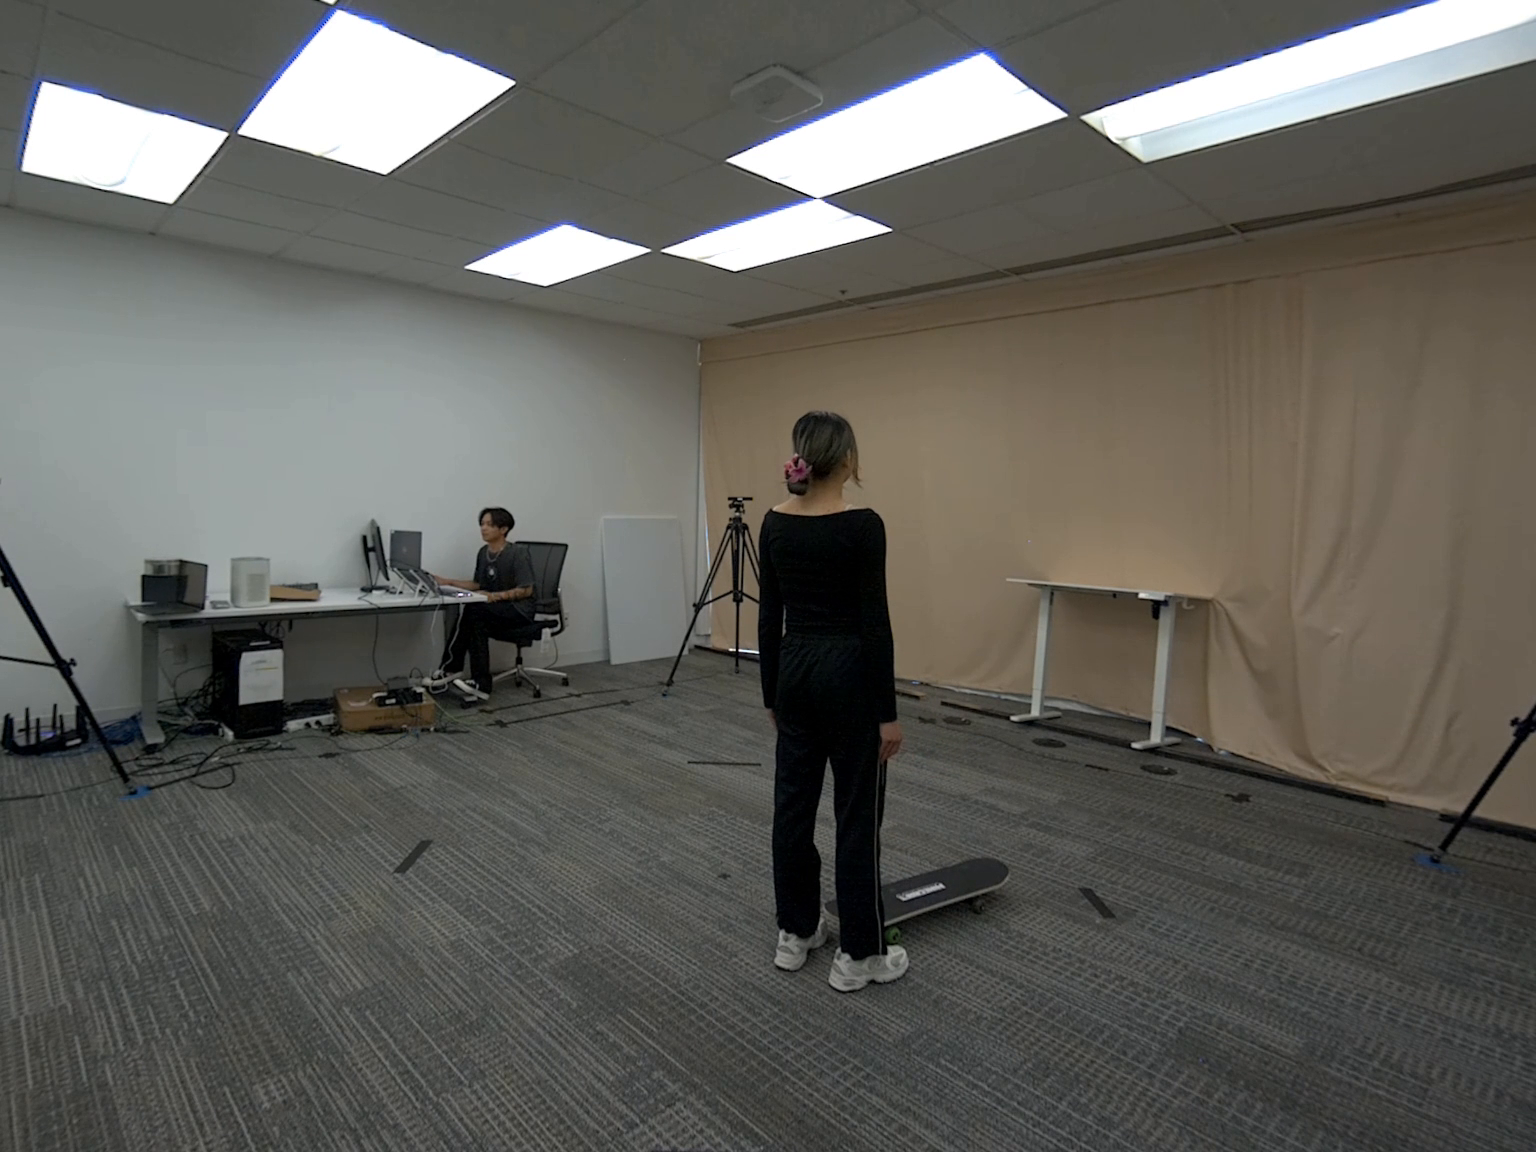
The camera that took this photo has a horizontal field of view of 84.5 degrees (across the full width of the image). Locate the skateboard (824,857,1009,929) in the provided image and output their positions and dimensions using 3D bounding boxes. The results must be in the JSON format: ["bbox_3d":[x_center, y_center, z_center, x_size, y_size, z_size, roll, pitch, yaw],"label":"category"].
[{"bbox_3d":[0.510,1.089,2.825,0.769,0.110,0.198,-2,7,-33],"label":"skateboard"}]
